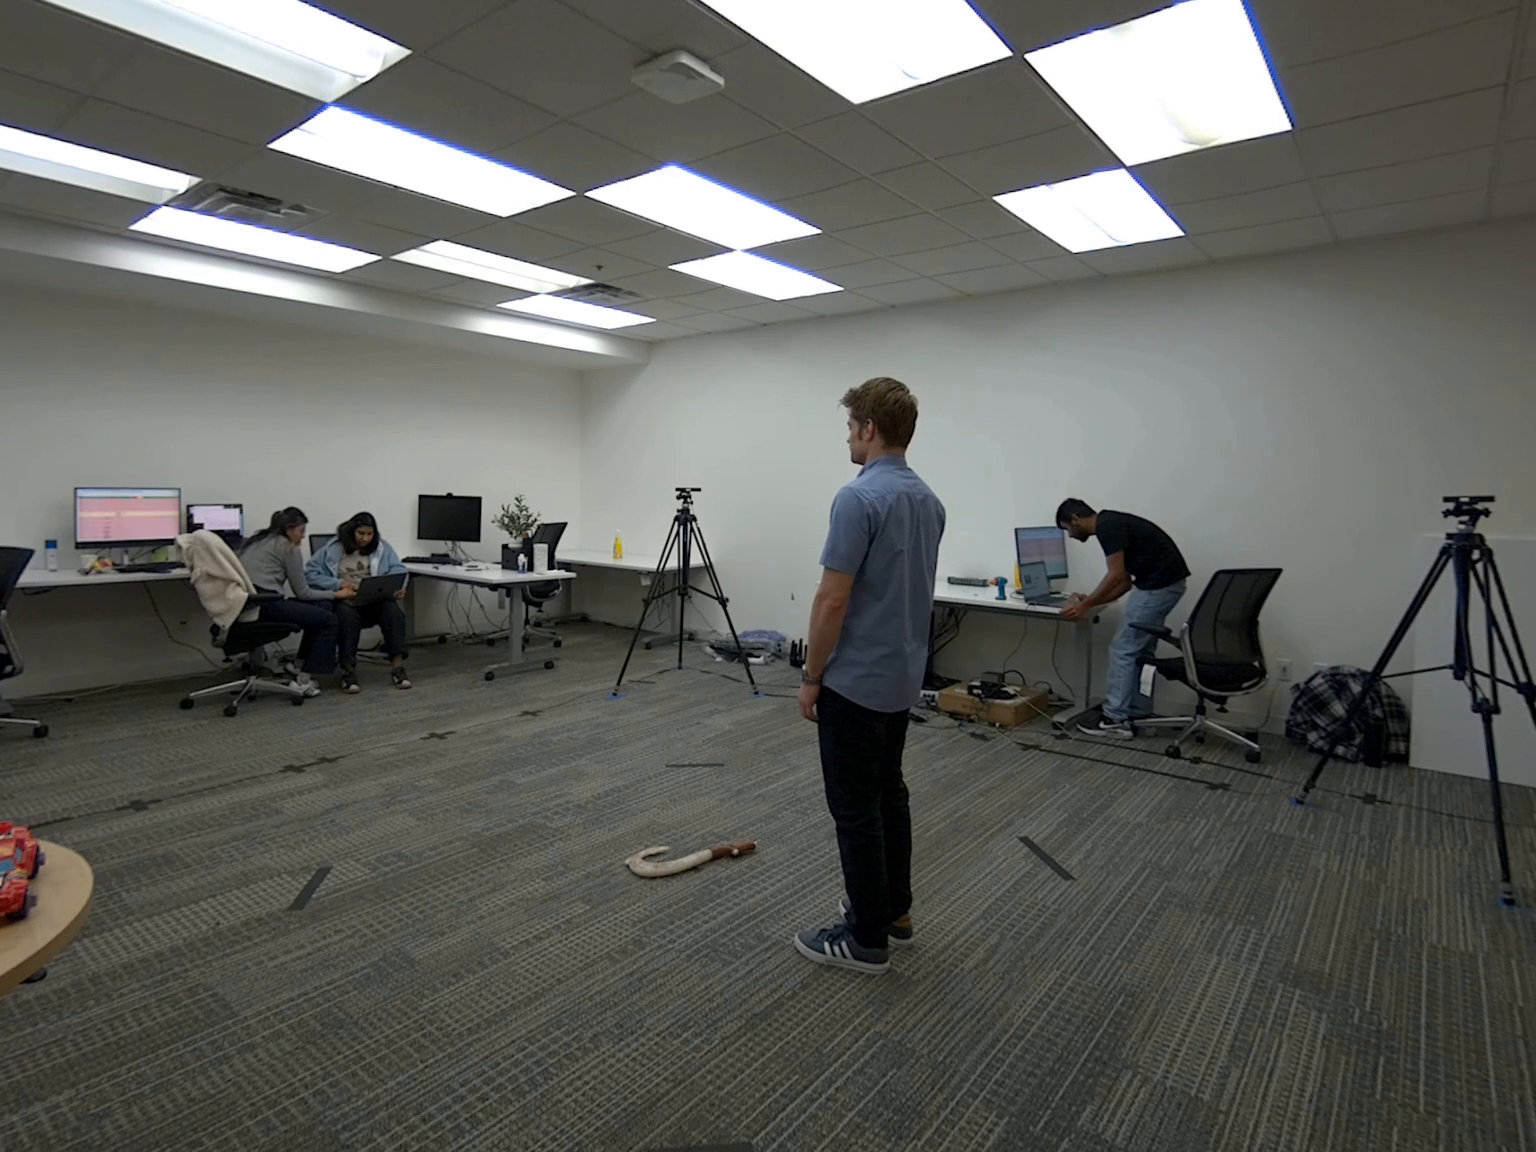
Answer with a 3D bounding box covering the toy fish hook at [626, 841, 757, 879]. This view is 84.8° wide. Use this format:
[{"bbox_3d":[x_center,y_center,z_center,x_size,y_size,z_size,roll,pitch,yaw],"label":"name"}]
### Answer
[{"bbox_3d":[-0.294,1.037,3.195,0.494,0.048,0.231,-2,8,-28],"label":"toy fish hook"}]
